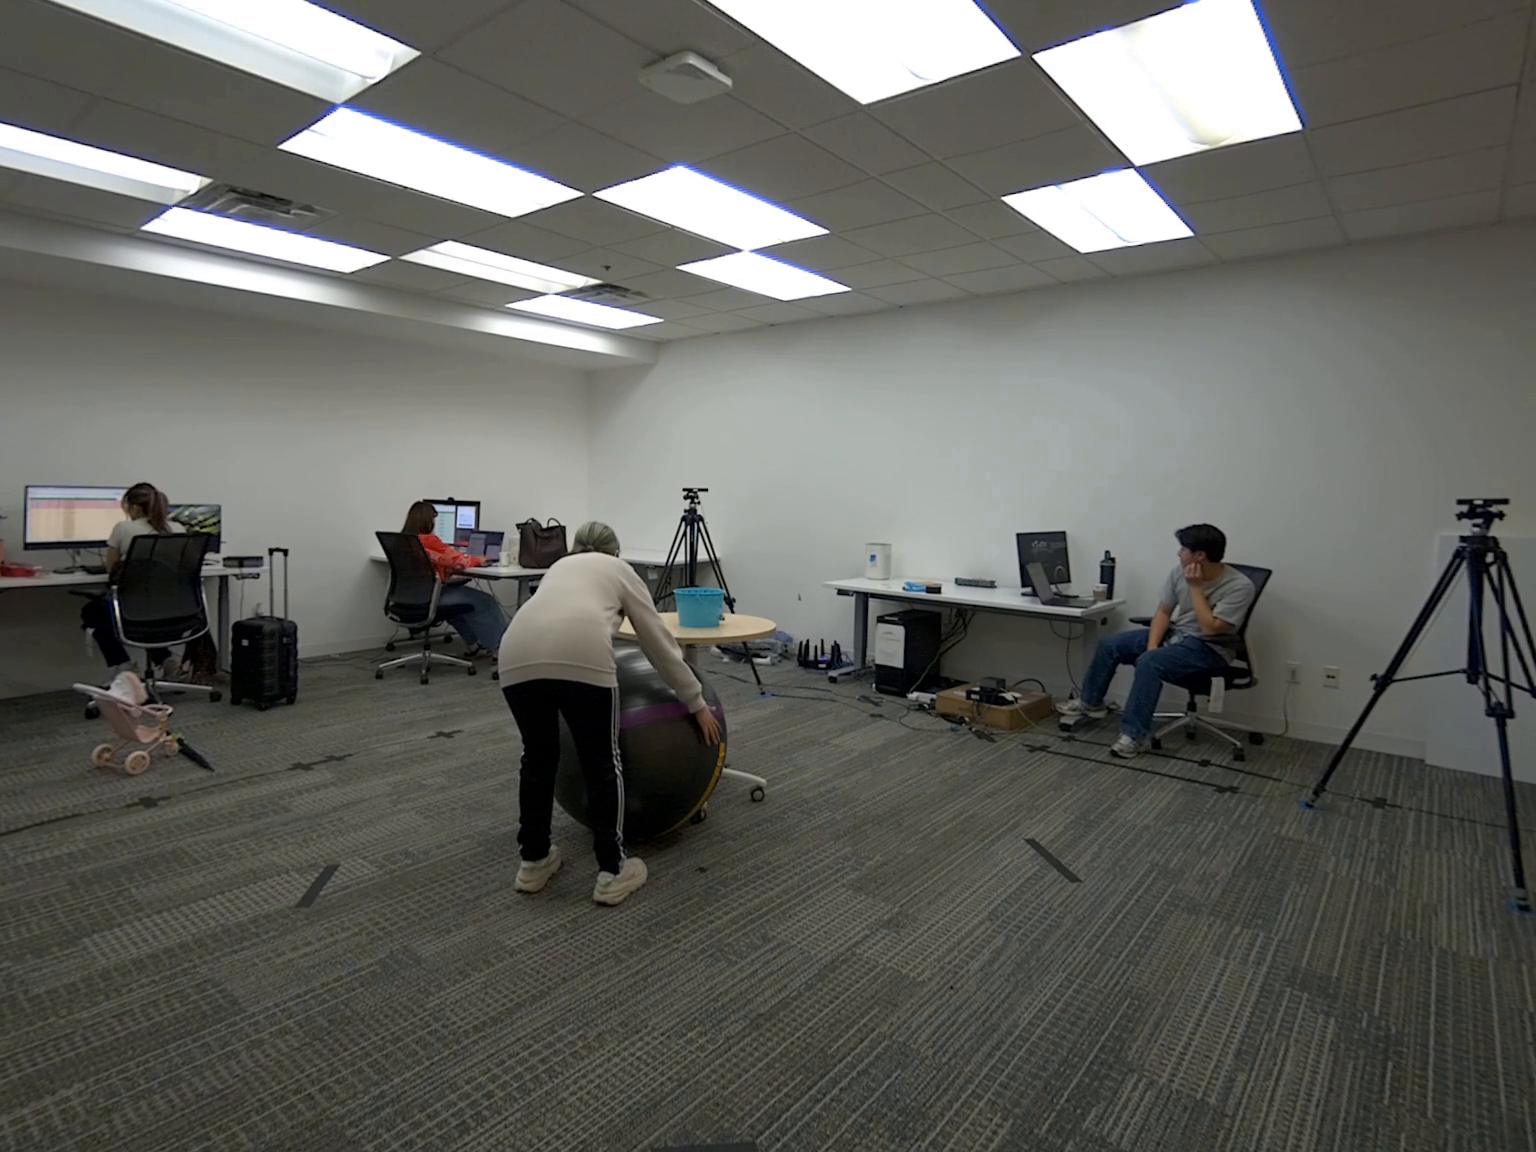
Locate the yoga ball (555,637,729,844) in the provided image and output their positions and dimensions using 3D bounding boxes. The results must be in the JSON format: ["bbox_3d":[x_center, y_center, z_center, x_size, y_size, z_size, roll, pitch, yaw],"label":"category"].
[{"bbox_3d":[-0.561,0.662,3.438,0.757,0.756,0.762,1,4,-2],"label":"yoga ball"}]
